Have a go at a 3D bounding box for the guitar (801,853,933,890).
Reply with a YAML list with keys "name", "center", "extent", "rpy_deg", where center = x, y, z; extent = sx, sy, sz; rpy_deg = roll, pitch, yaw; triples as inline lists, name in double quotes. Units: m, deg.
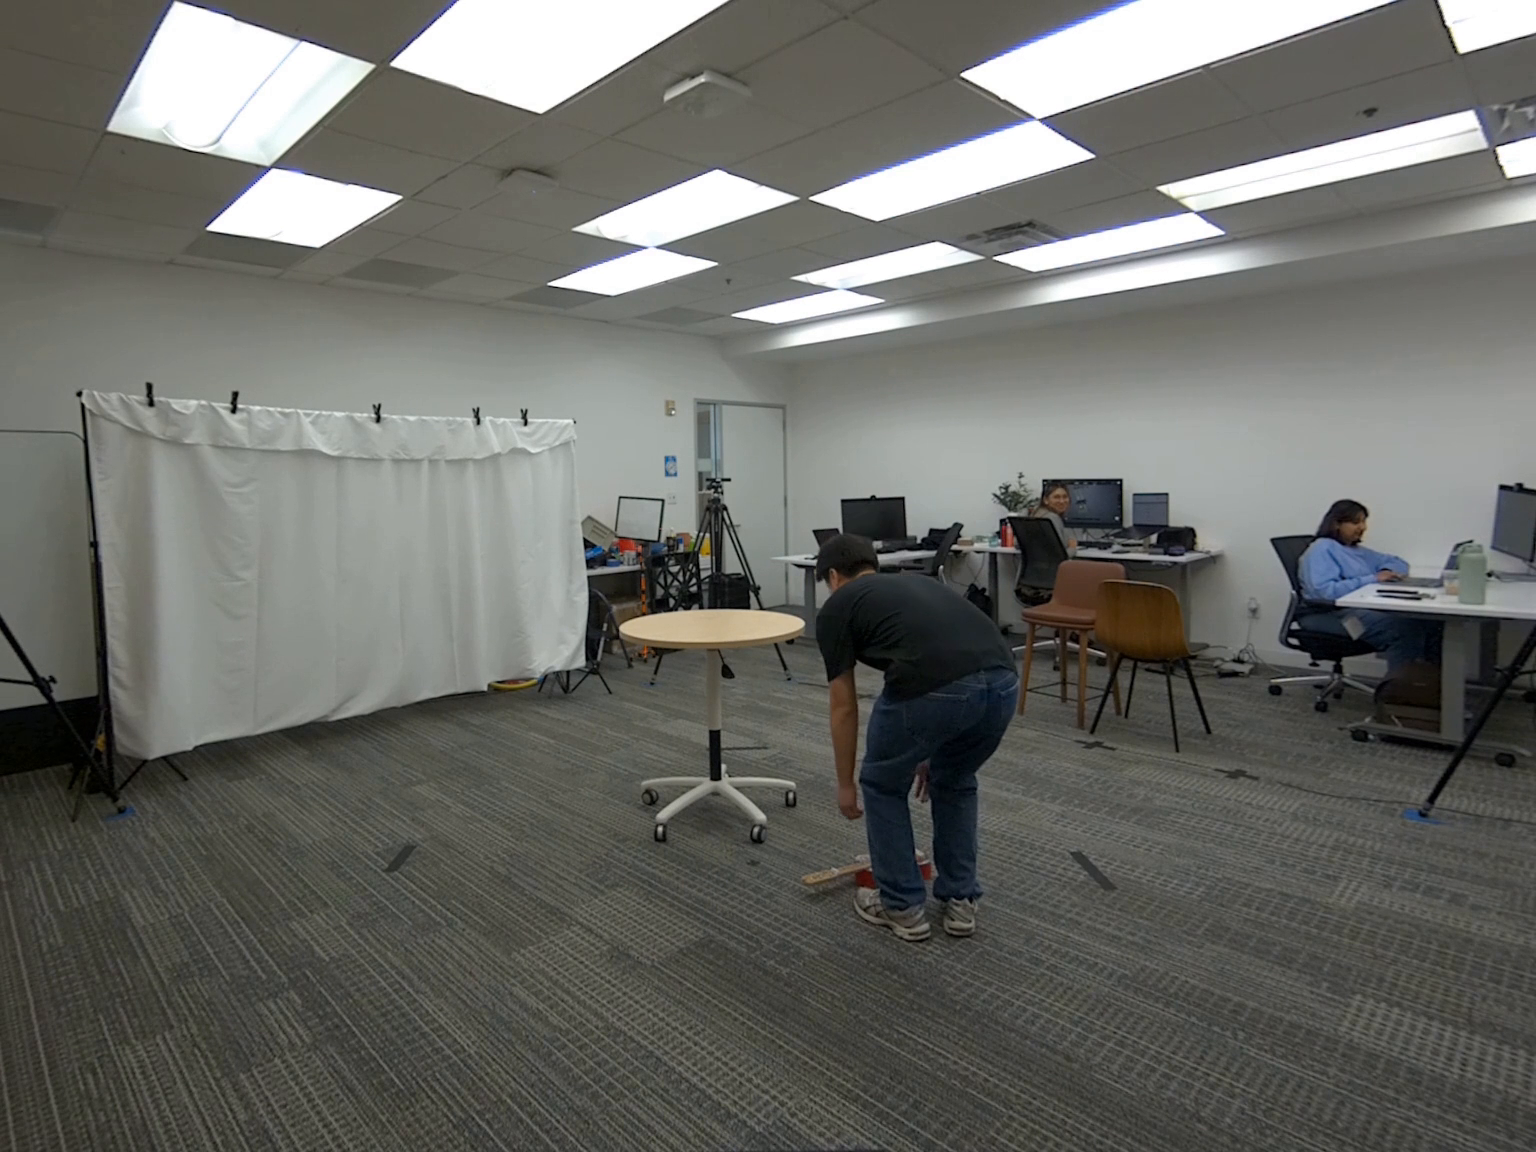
- name: "guitar"
  center: [0.326, 1.017, 2.969]
  extent: [0.489, 0.070, 0.197]
  rpy_deg: [-3, 7, -19]
